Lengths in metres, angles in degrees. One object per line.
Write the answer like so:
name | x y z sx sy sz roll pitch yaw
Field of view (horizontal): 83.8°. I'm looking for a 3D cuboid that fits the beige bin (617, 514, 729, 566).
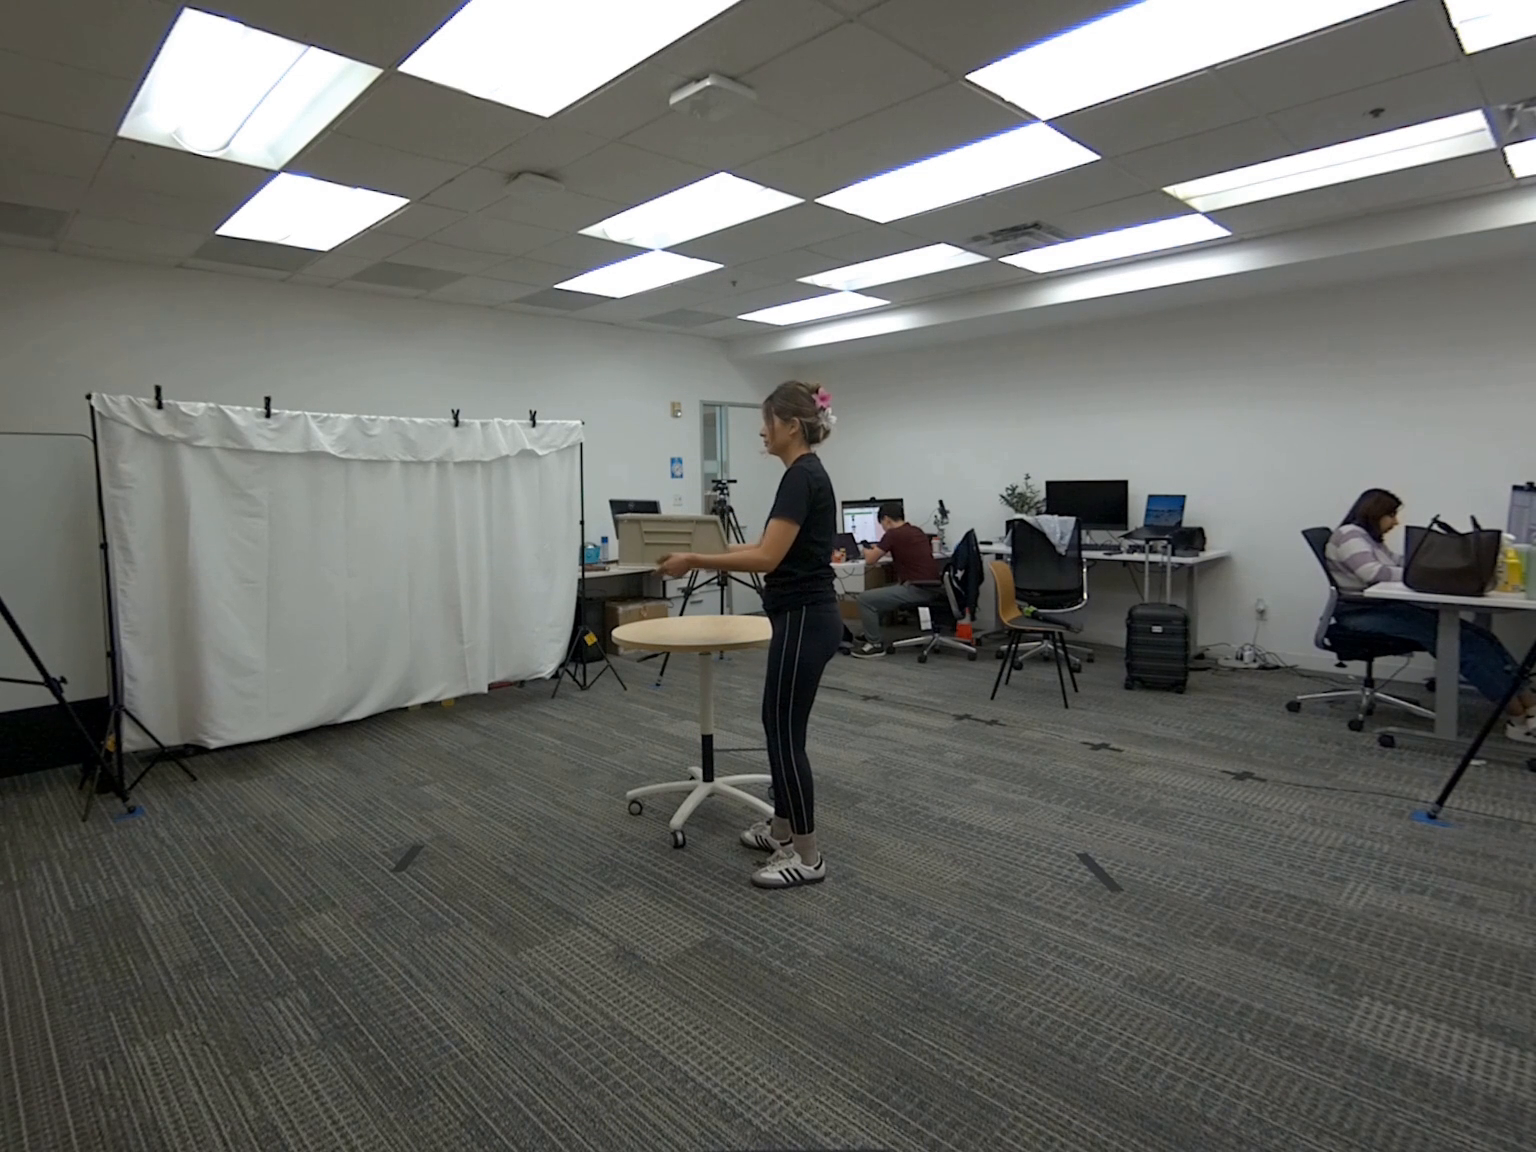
beige bin | -0.327 -0.119 3.032 0.377 0.188 0.424 1 4 -3
